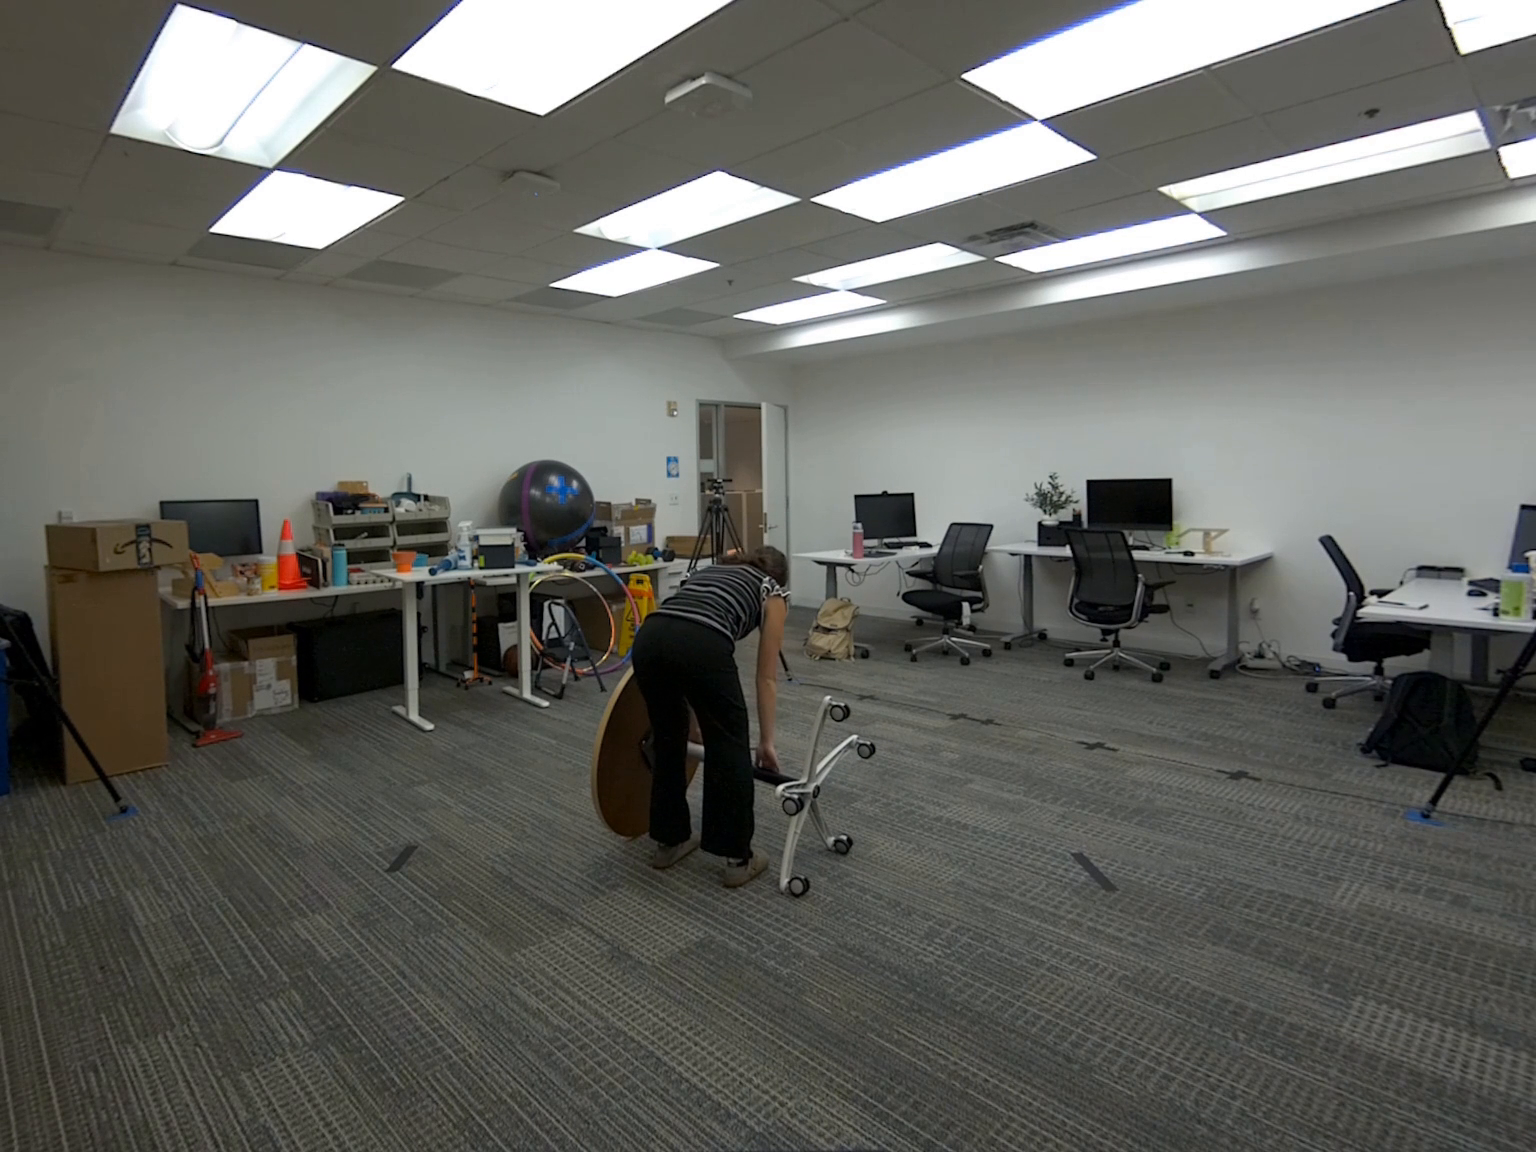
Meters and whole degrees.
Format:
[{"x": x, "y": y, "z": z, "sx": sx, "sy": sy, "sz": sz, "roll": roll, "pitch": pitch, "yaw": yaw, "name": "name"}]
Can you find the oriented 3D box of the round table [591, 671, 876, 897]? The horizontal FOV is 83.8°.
[{"x": -0.102, "y": 0.710, "z": 3.179, "sx": 0.817, "sy": 0.759, "sz": 0.747, "roll": 11, "pitch": 10, "yaw": 29, "name": "round table"}]
